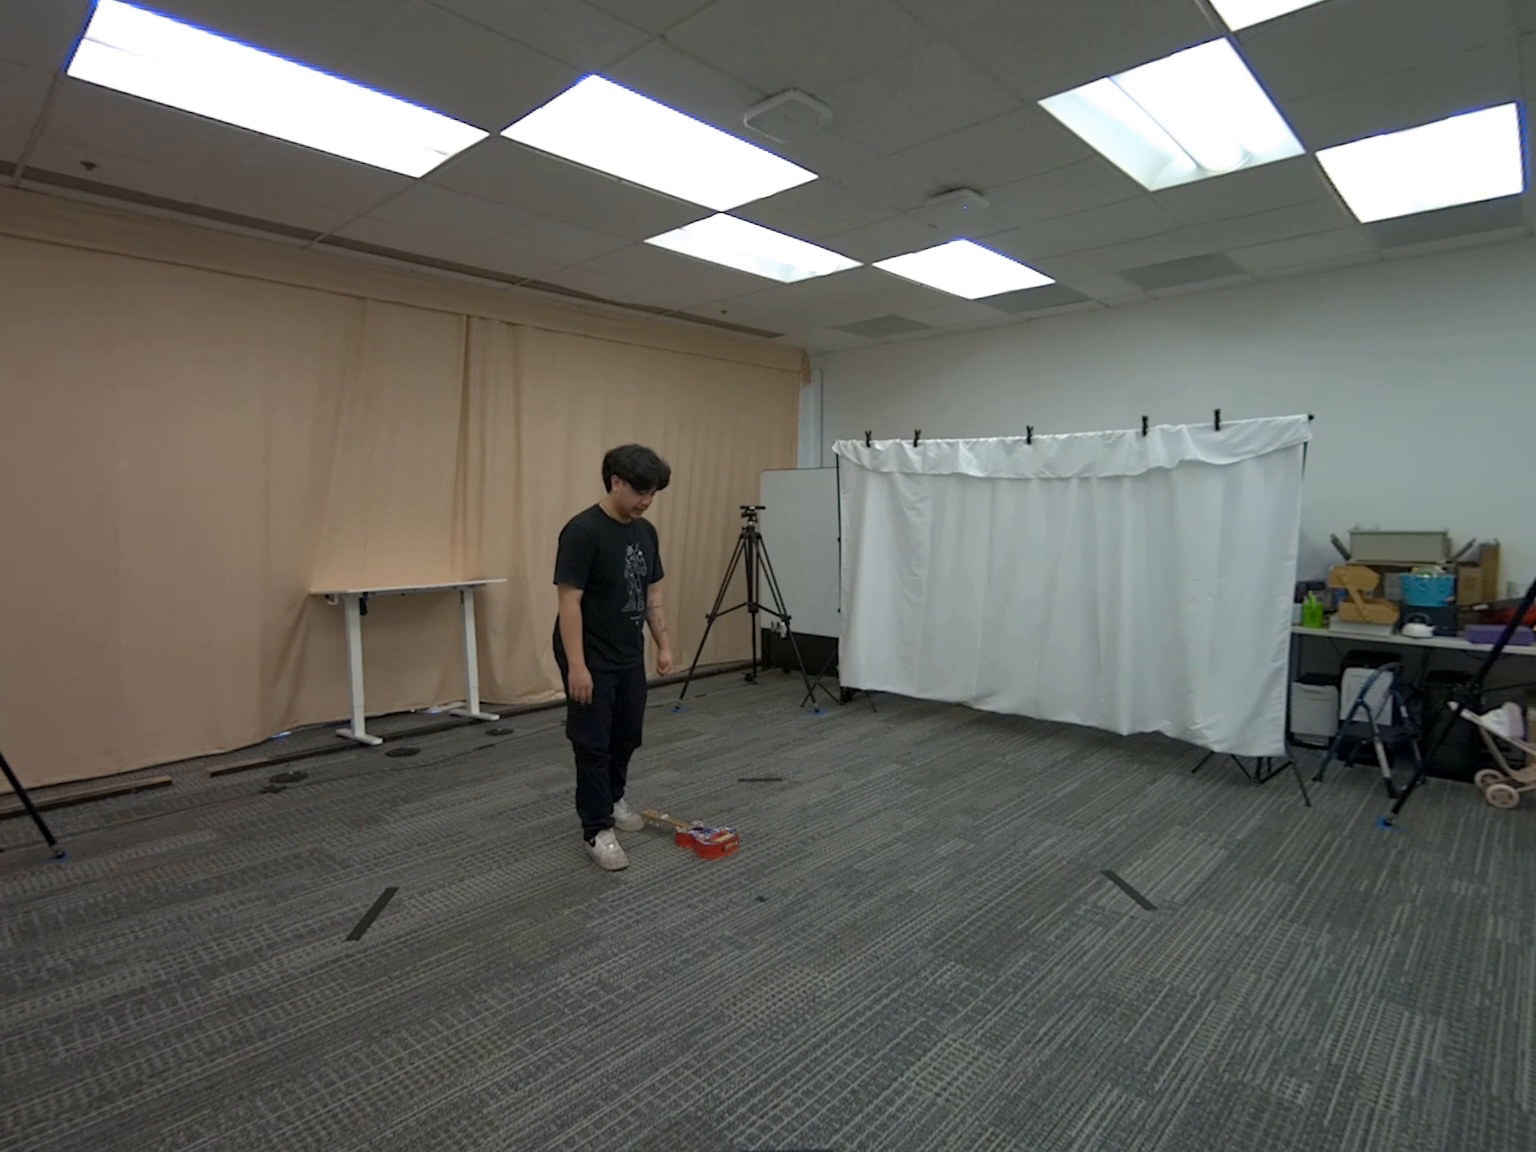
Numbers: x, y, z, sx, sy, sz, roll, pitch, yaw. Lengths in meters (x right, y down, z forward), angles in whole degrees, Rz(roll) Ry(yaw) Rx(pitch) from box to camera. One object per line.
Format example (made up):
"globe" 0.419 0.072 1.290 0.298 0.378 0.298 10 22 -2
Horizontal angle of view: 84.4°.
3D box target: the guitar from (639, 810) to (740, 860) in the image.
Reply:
"guitar" -0.331 1.067 3.546 0.187 0.070 0.514 -5 7 -42
